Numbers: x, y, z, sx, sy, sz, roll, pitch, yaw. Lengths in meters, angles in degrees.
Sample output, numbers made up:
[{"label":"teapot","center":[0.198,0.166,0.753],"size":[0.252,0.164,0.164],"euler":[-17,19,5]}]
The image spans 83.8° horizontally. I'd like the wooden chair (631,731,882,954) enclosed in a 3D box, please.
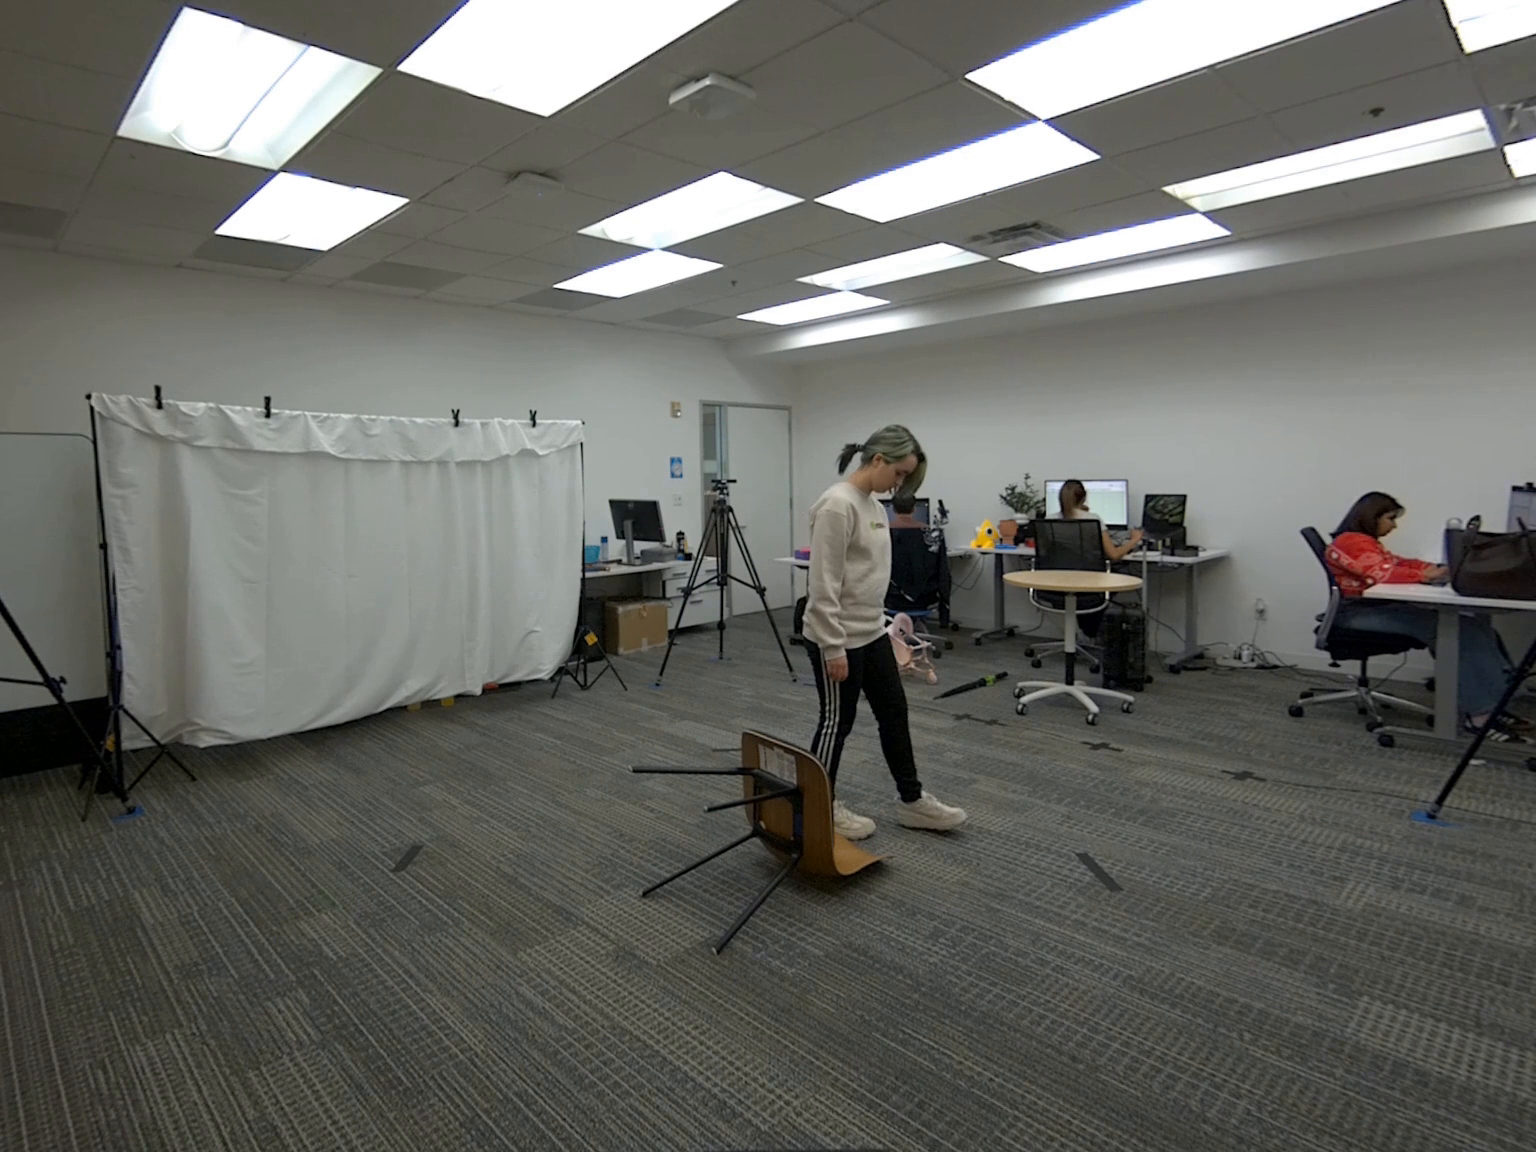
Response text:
[{"label":"wooden chair","center":[0.027,0.808,2.917],"size":[0.854,0.521,0.493],"euler":[-4,6,-37]}]
